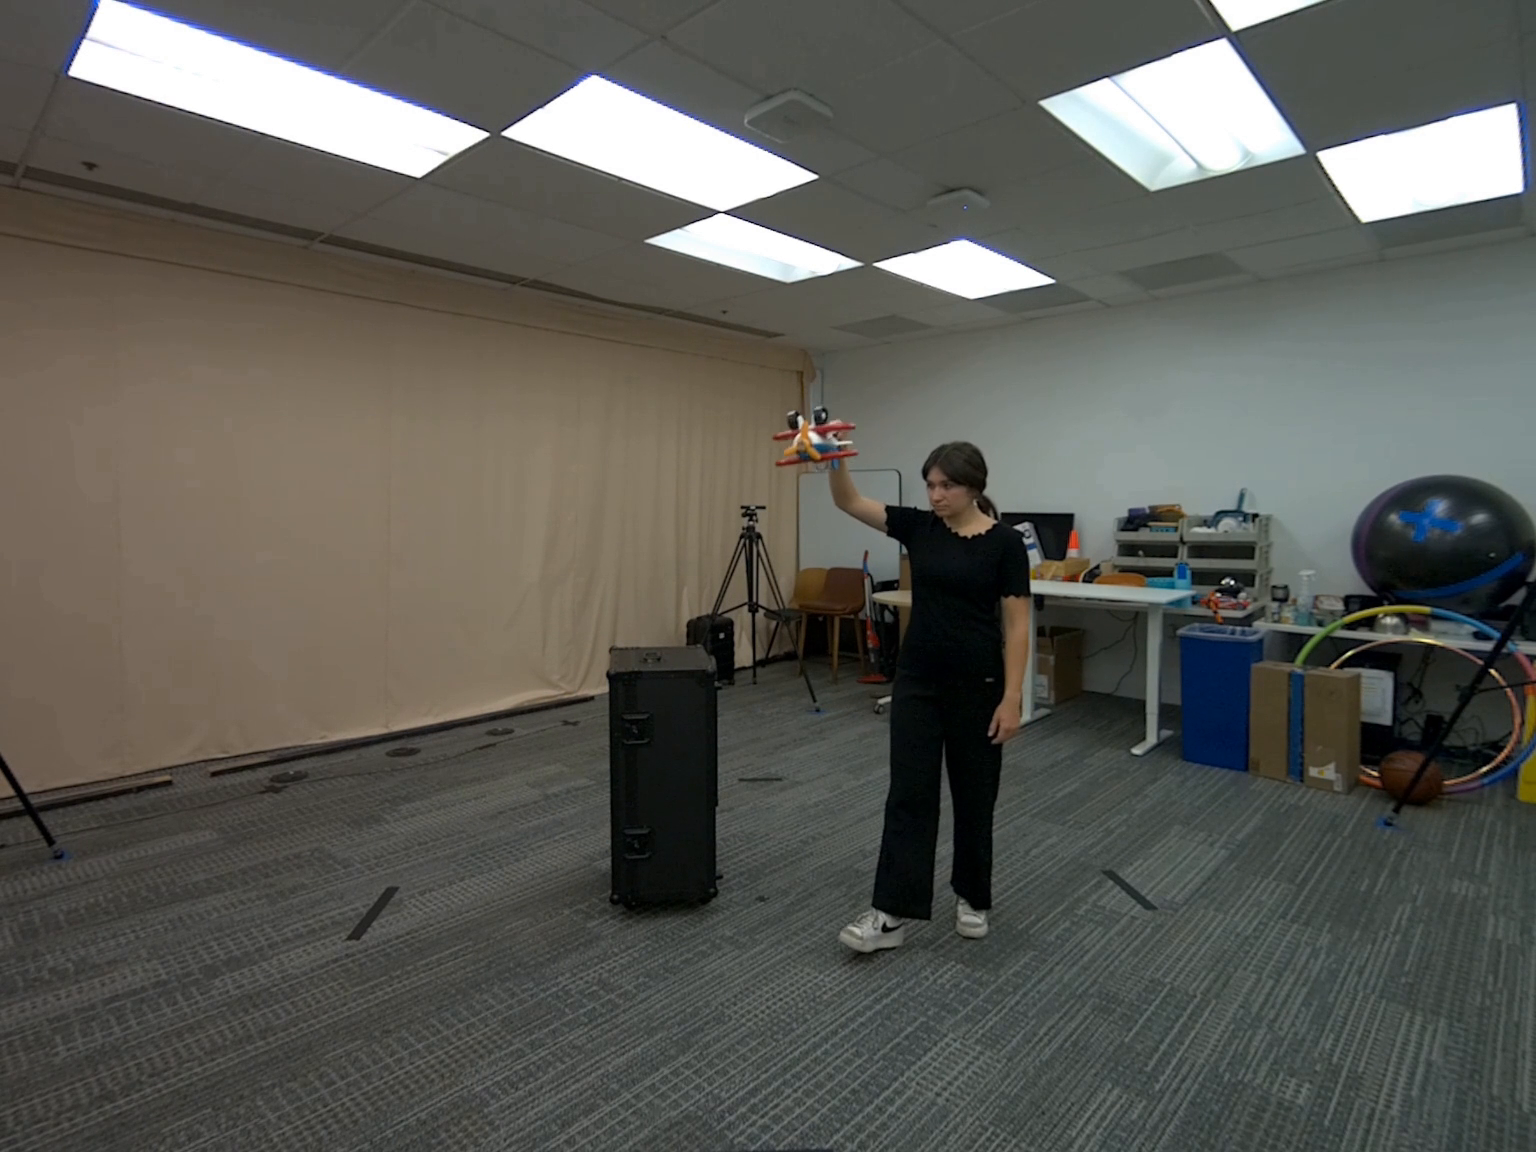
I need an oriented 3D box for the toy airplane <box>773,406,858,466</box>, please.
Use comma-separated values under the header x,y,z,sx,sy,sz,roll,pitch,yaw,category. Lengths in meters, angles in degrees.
x,y,z,sx,sy,sz,roll,pitch,yaw,category
0.169,-0.401,2.521,0.251,0.157,0.257,7,-10,-31,toy airplane
